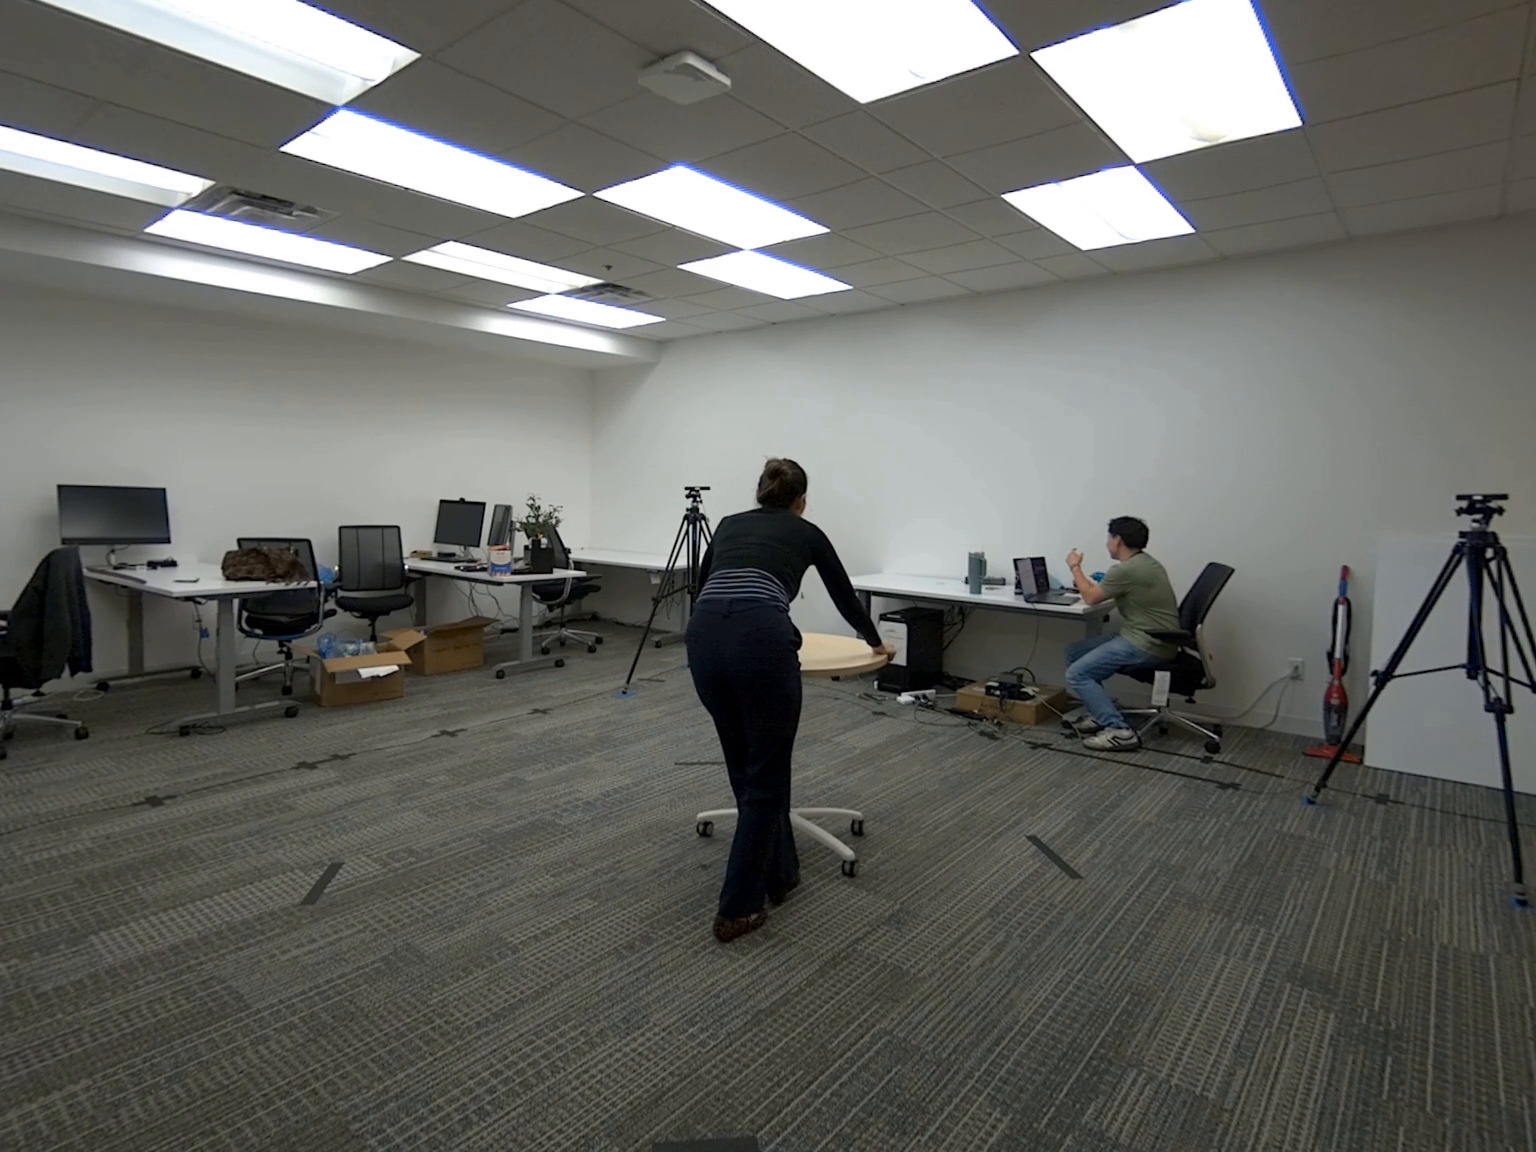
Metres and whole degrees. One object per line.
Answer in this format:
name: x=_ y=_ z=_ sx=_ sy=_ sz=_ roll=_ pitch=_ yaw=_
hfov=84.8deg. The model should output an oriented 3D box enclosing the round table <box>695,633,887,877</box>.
round table: x=0.057 y=0.663 z=3.302 sx=0.763 sy=0.791 sz=0.768 roll=1 pitch=4 yaw=-2
